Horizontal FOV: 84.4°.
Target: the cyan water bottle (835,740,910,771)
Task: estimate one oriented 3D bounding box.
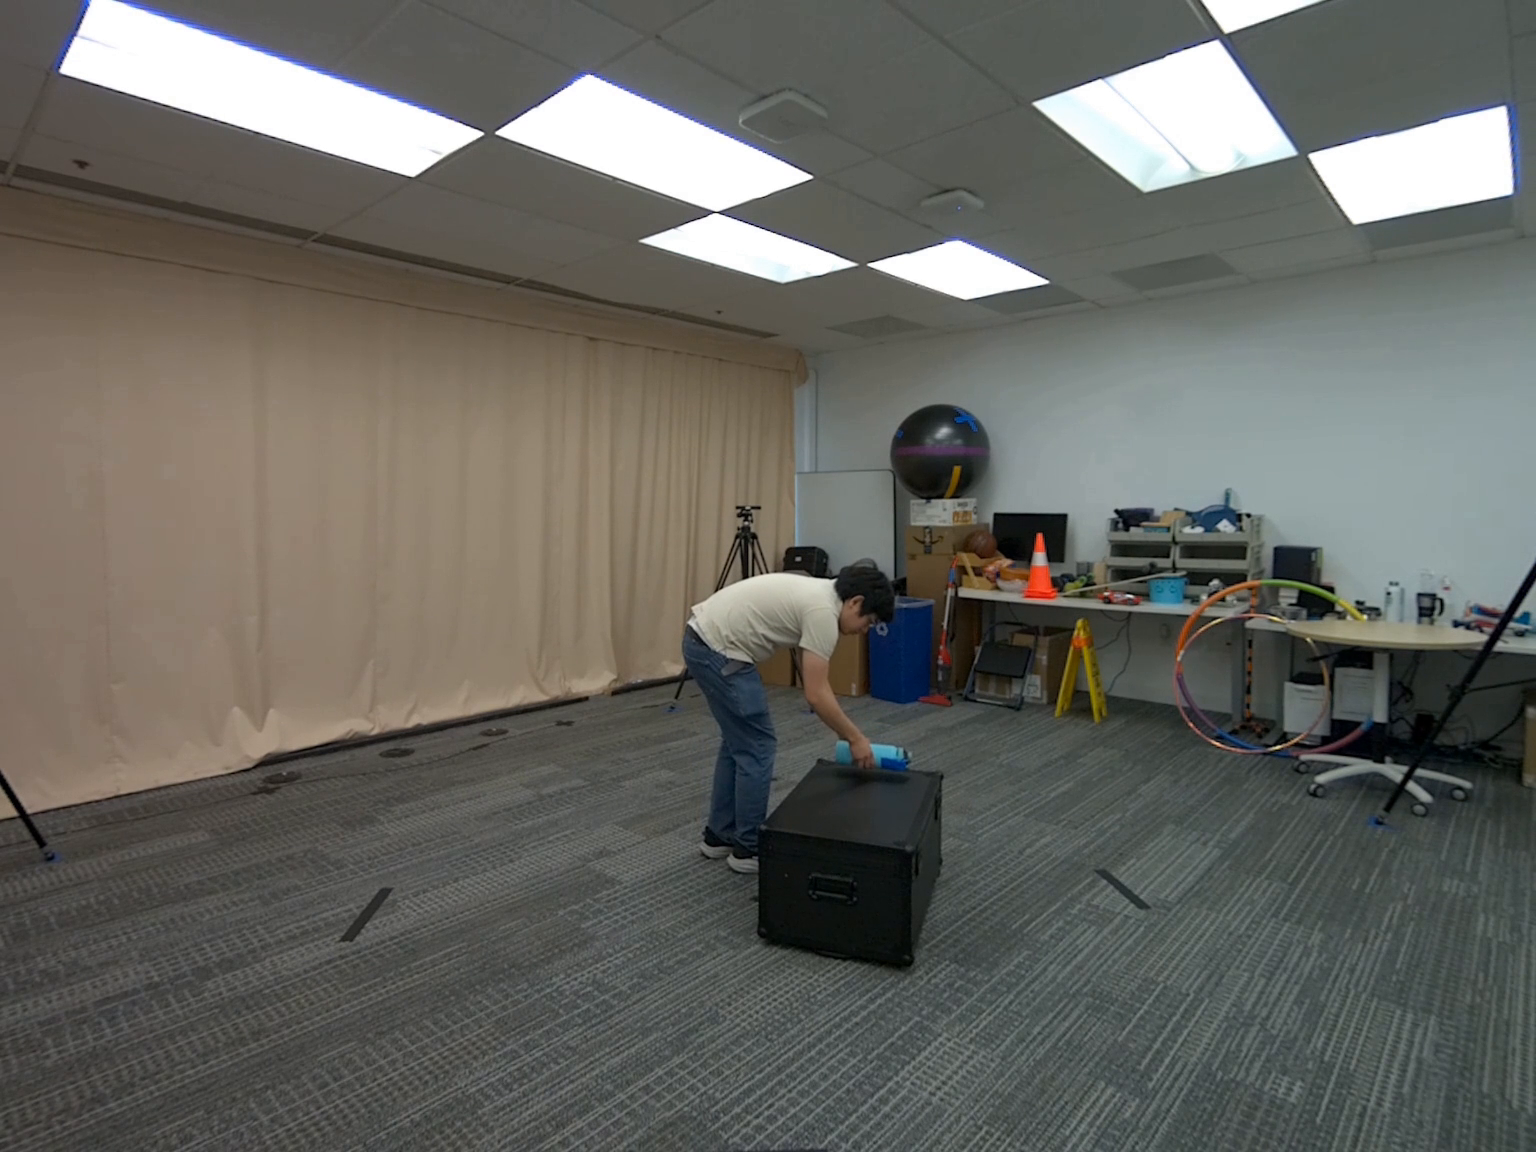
[{"bbox_3d":[0.413,0.691,3.203,0.289,0.092,0.091,2,4,18],"label":"cyan water bottle"}]
